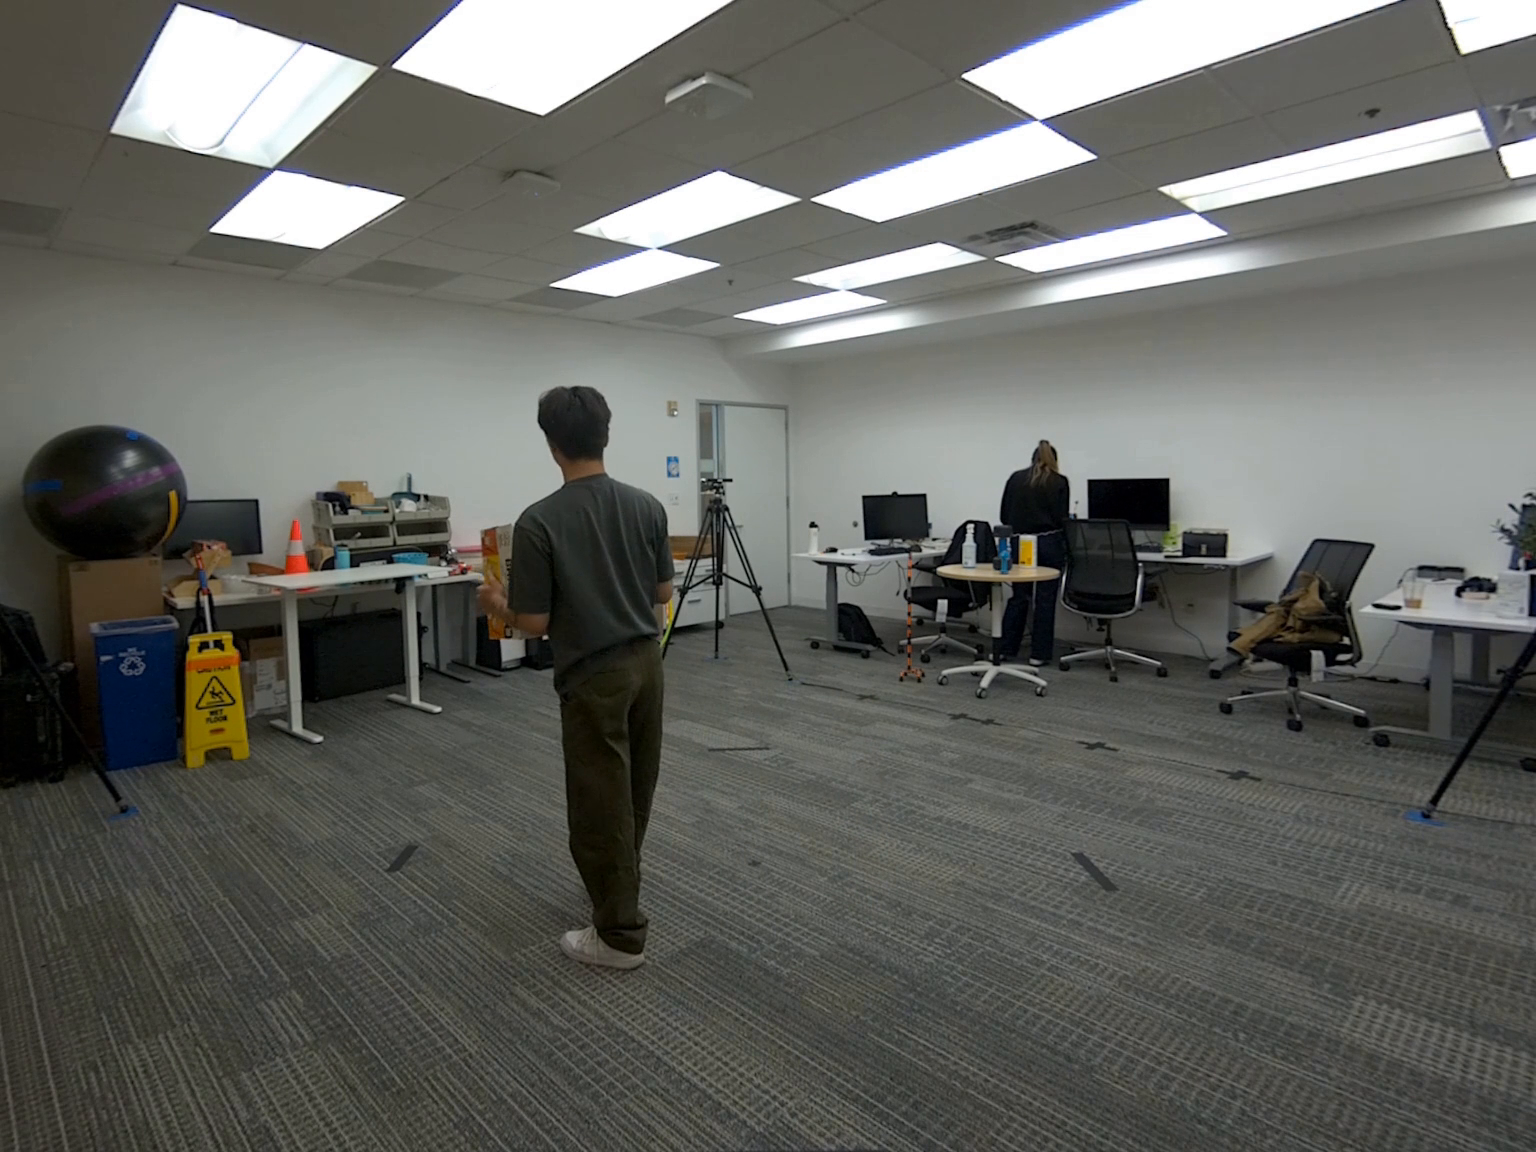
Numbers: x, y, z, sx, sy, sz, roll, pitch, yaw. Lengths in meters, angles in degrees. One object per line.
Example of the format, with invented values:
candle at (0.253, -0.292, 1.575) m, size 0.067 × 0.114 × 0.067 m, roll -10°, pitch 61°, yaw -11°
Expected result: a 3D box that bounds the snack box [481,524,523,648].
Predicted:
snack box at (-0.655, 0.003, 2.698) m, size 0.395 × 0.340 × 0.211 m, roll -6°, pitch 0°, yaw -42°
